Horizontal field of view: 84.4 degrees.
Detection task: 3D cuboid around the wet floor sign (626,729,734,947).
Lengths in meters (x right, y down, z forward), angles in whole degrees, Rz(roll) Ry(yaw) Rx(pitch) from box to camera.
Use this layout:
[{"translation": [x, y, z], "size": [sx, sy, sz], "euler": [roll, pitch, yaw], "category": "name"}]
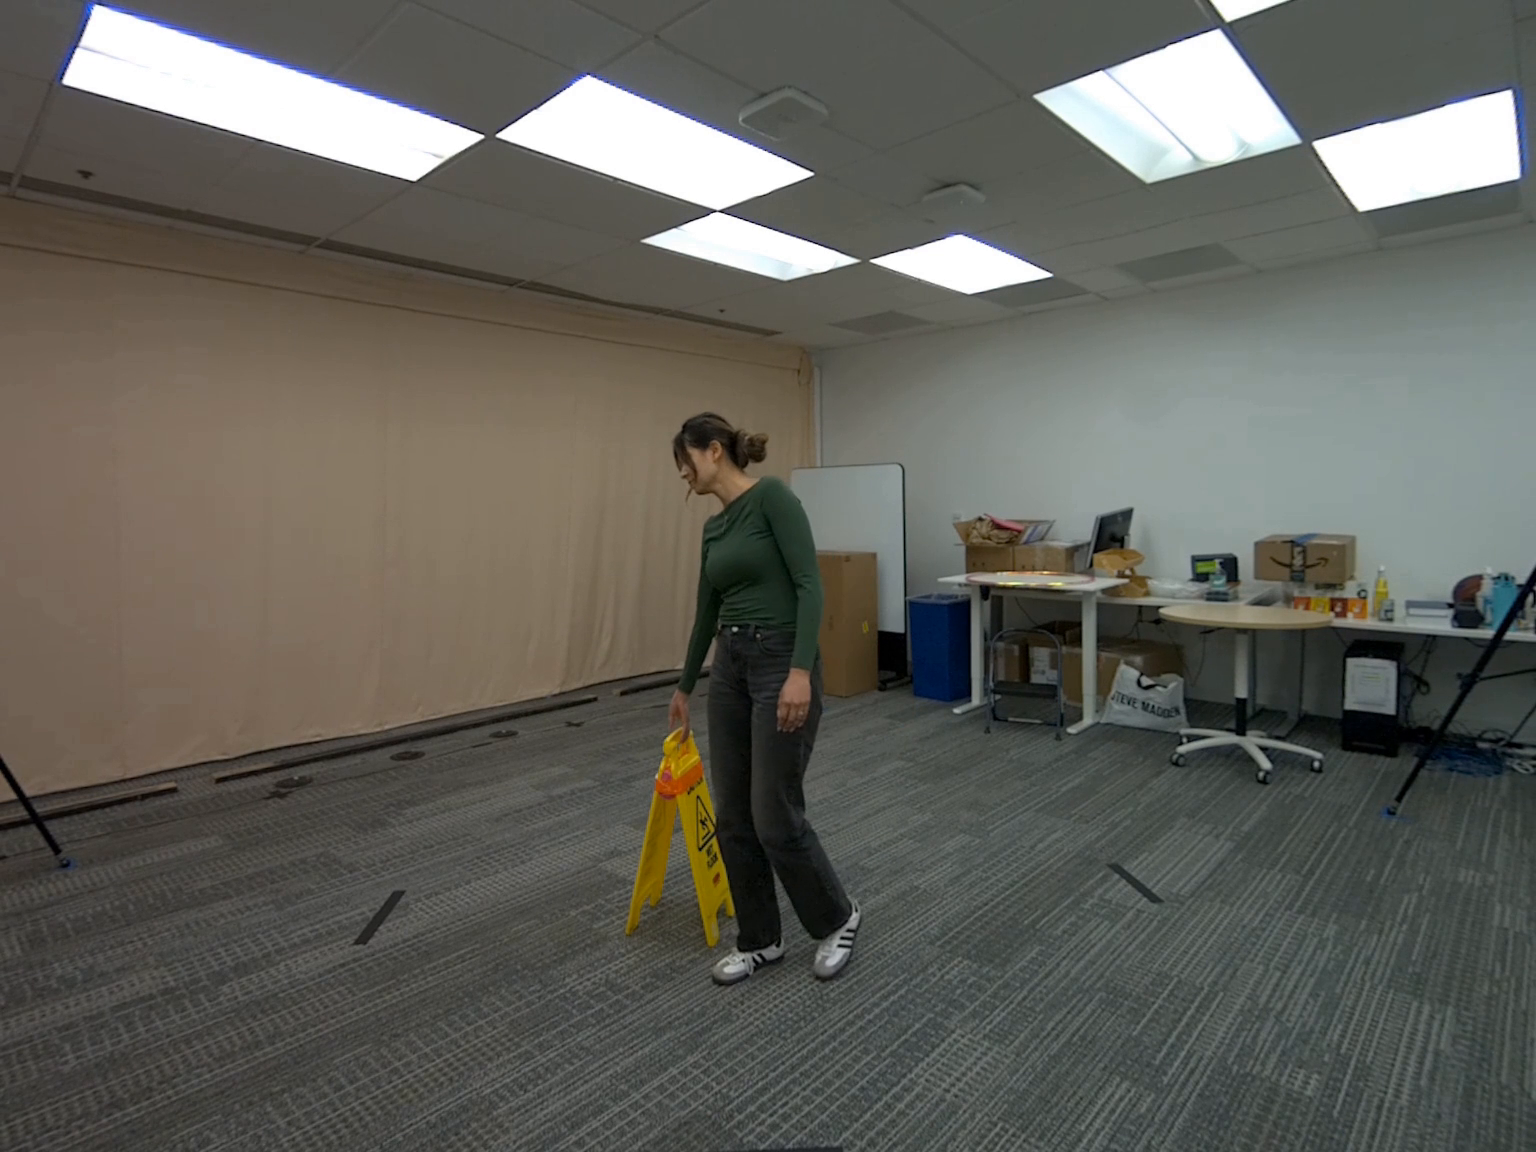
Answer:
[{"translation": [-0.288, 0.838, 2.801], "size": [0.295, 0.644, 0.278], "euler": [1, 5, 17], "category": "wet floor sign"}]
